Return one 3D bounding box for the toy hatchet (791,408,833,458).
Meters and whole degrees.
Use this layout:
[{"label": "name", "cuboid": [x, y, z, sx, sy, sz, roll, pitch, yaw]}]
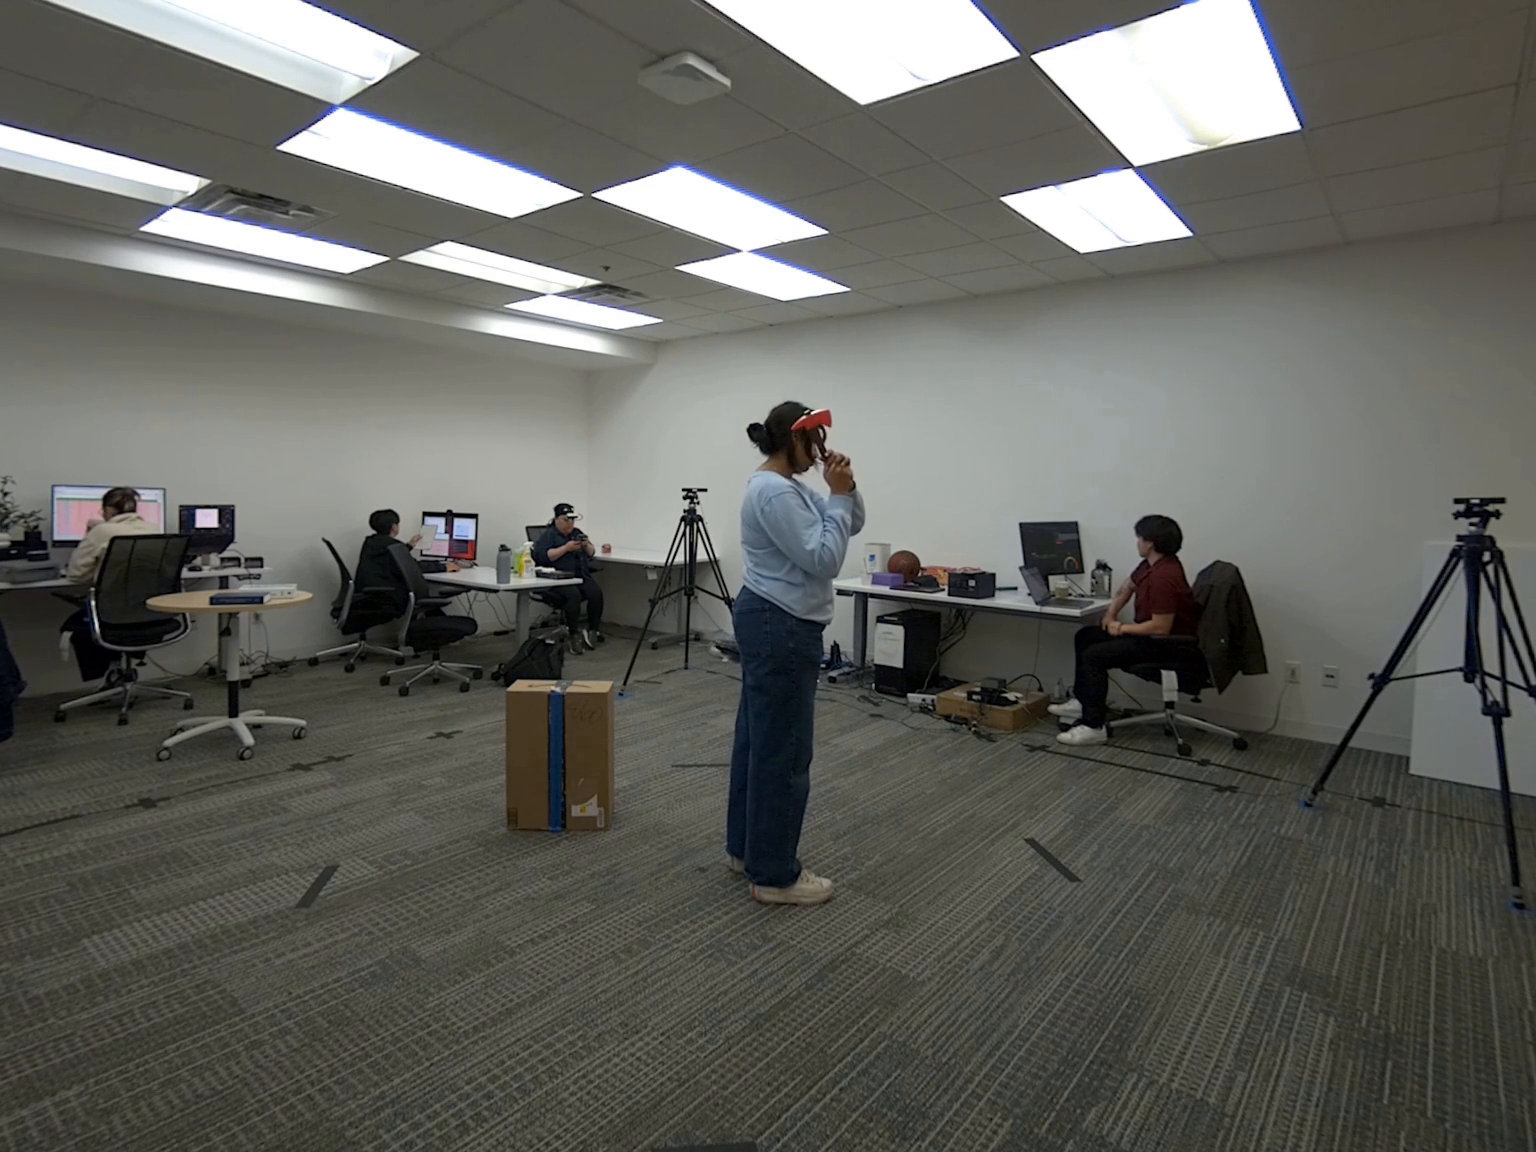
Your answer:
[{"label": "toy hatchet", "cuboid": [0.192, -0.443, 2.768, 0.262, 0.131, 0.030, 43, 7, -22]}]
